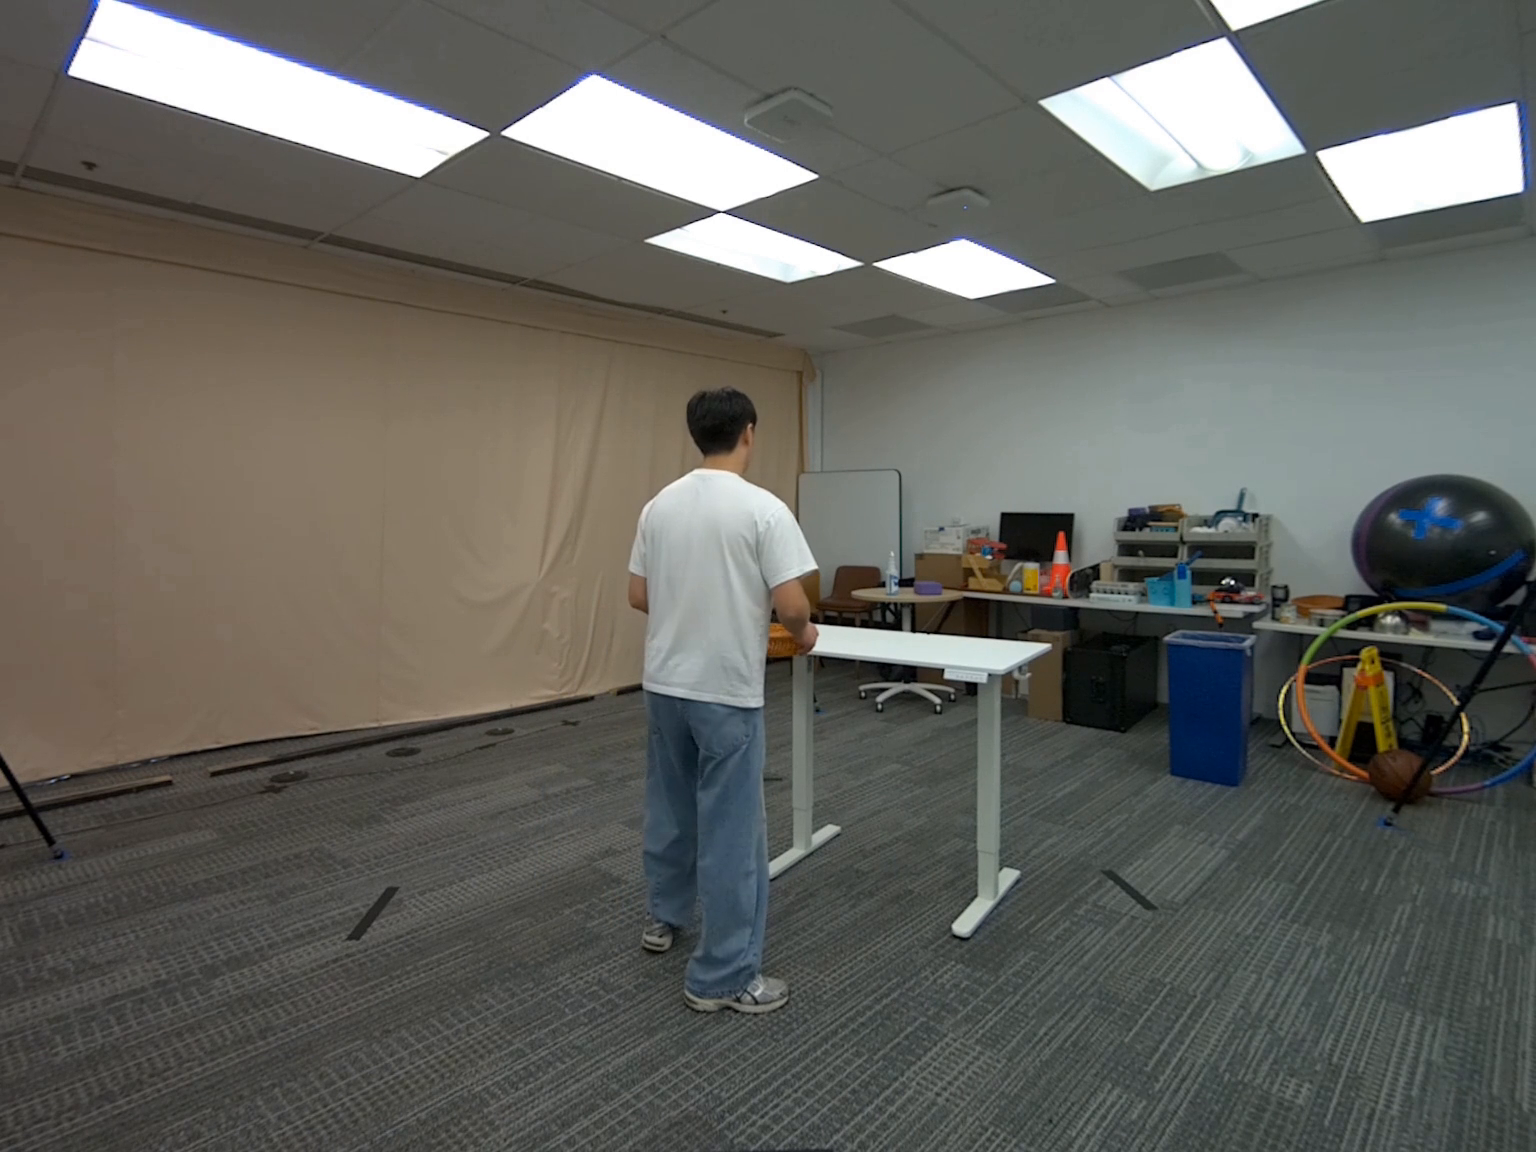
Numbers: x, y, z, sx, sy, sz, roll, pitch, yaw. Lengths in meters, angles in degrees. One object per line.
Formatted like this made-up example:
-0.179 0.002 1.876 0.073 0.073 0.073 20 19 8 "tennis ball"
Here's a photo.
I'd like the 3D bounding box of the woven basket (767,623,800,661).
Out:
-0.019 0.212 2.656 0.362 0.073 0.244 3 5 44 "woven basket"
